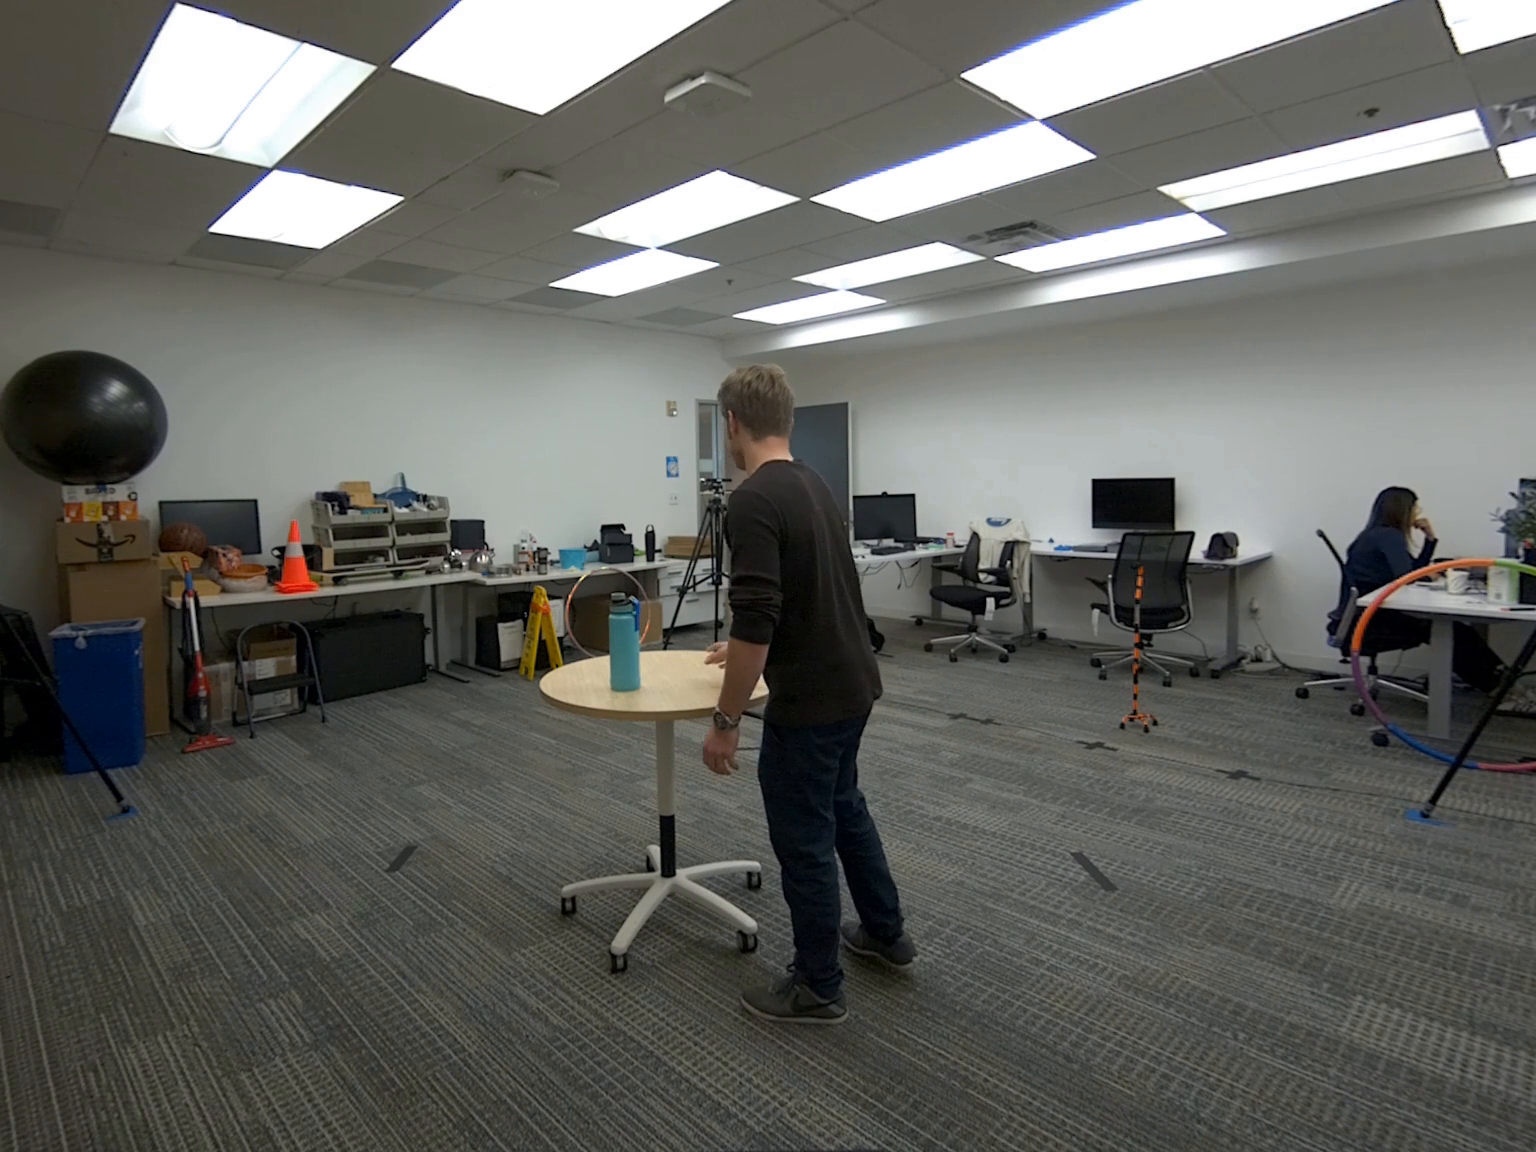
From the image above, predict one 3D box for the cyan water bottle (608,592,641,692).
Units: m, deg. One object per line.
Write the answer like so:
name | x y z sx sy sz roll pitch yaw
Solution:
cyan water bottle | -0.429 0.193 2.545 0.092 0.282 0.093 1 4 -2
